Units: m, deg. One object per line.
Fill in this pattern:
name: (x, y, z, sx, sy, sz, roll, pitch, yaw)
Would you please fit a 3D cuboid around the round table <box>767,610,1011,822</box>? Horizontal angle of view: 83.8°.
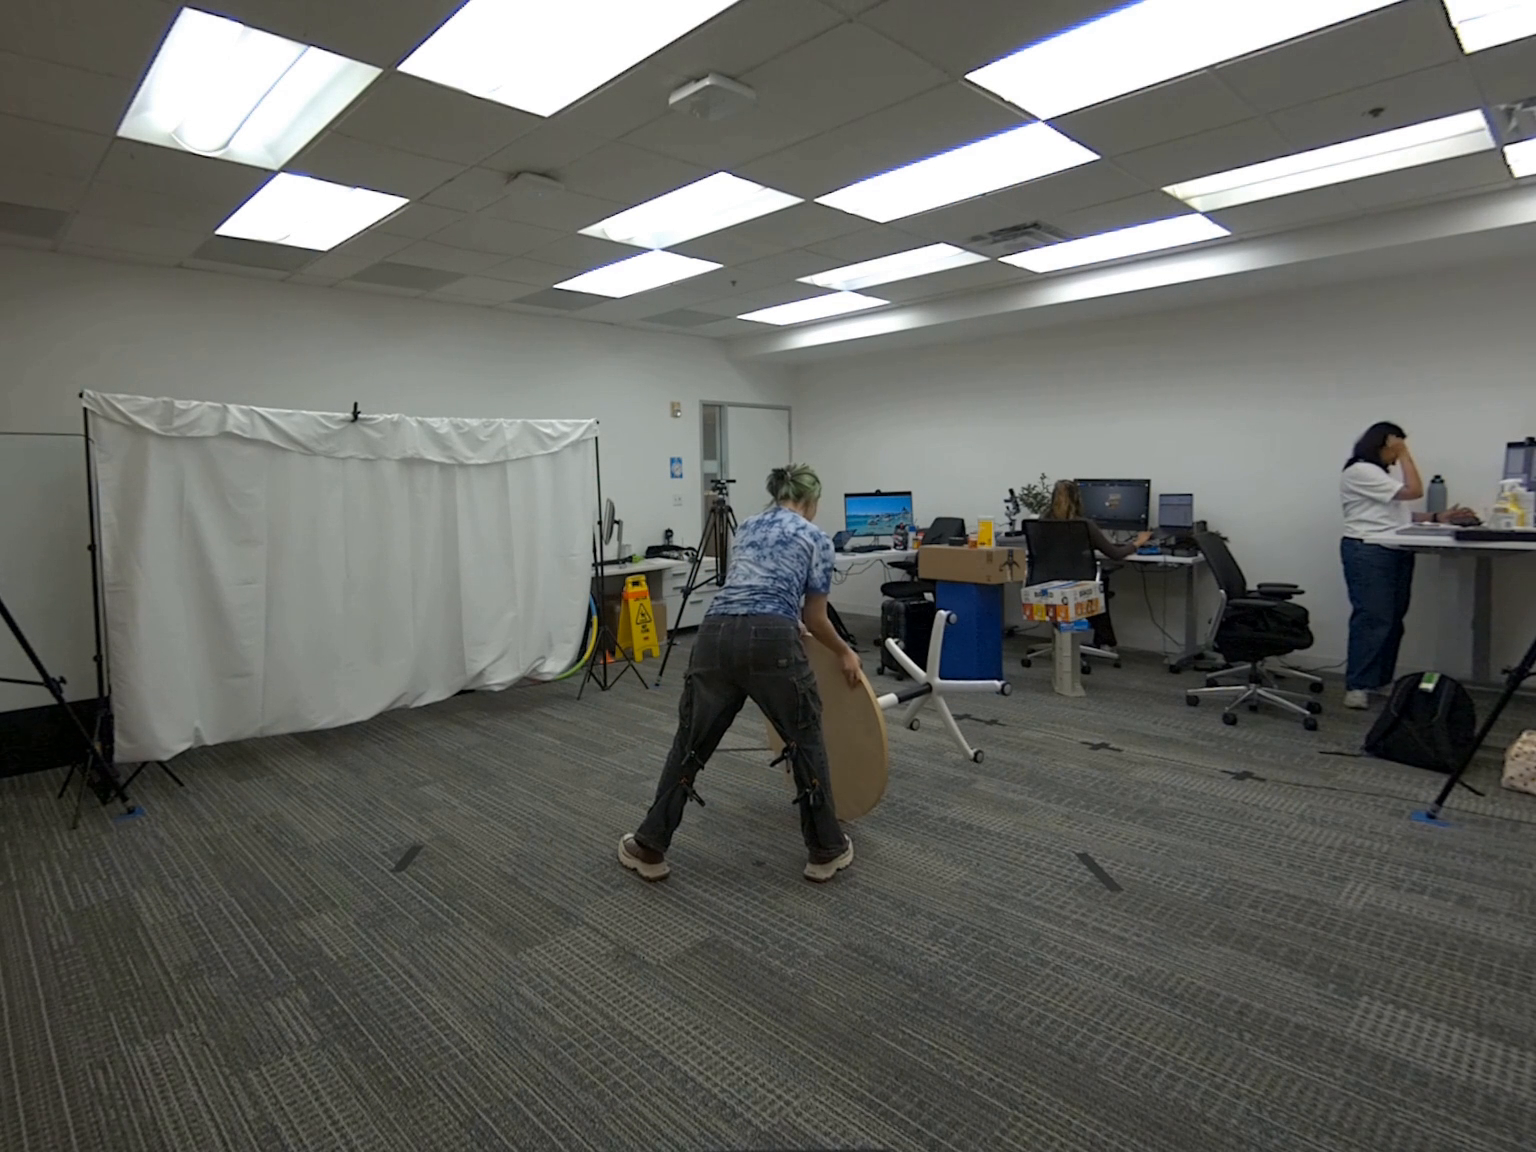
round table: (0.531, 0.562, 3.723, 0.776, 0.759, 0.786, -10, 9, -34)
